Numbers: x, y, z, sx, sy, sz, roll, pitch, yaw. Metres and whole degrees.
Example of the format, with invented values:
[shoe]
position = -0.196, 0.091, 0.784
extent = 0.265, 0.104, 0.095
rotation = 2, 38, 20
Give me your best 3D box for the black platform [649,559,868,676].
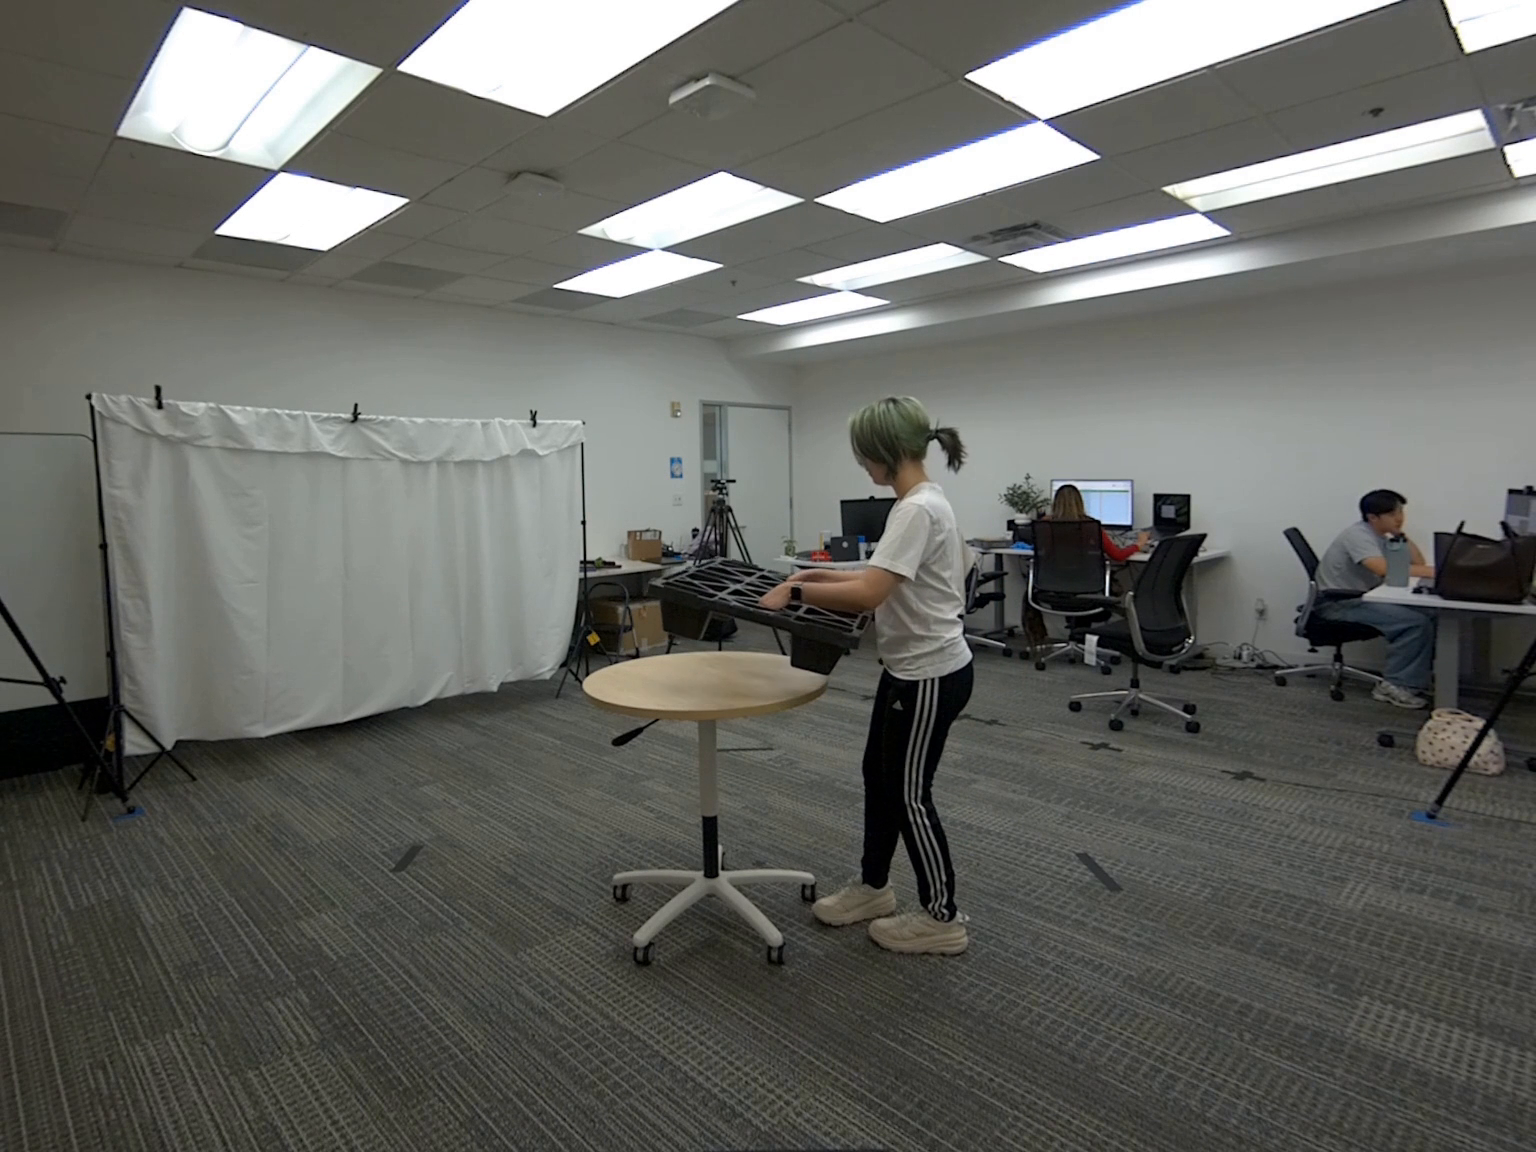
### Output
[black platform]
position = 0.023, 0.108, 2.666
extent = 0.614, 0.142, 0.798
rotation = 14, 9, 11
